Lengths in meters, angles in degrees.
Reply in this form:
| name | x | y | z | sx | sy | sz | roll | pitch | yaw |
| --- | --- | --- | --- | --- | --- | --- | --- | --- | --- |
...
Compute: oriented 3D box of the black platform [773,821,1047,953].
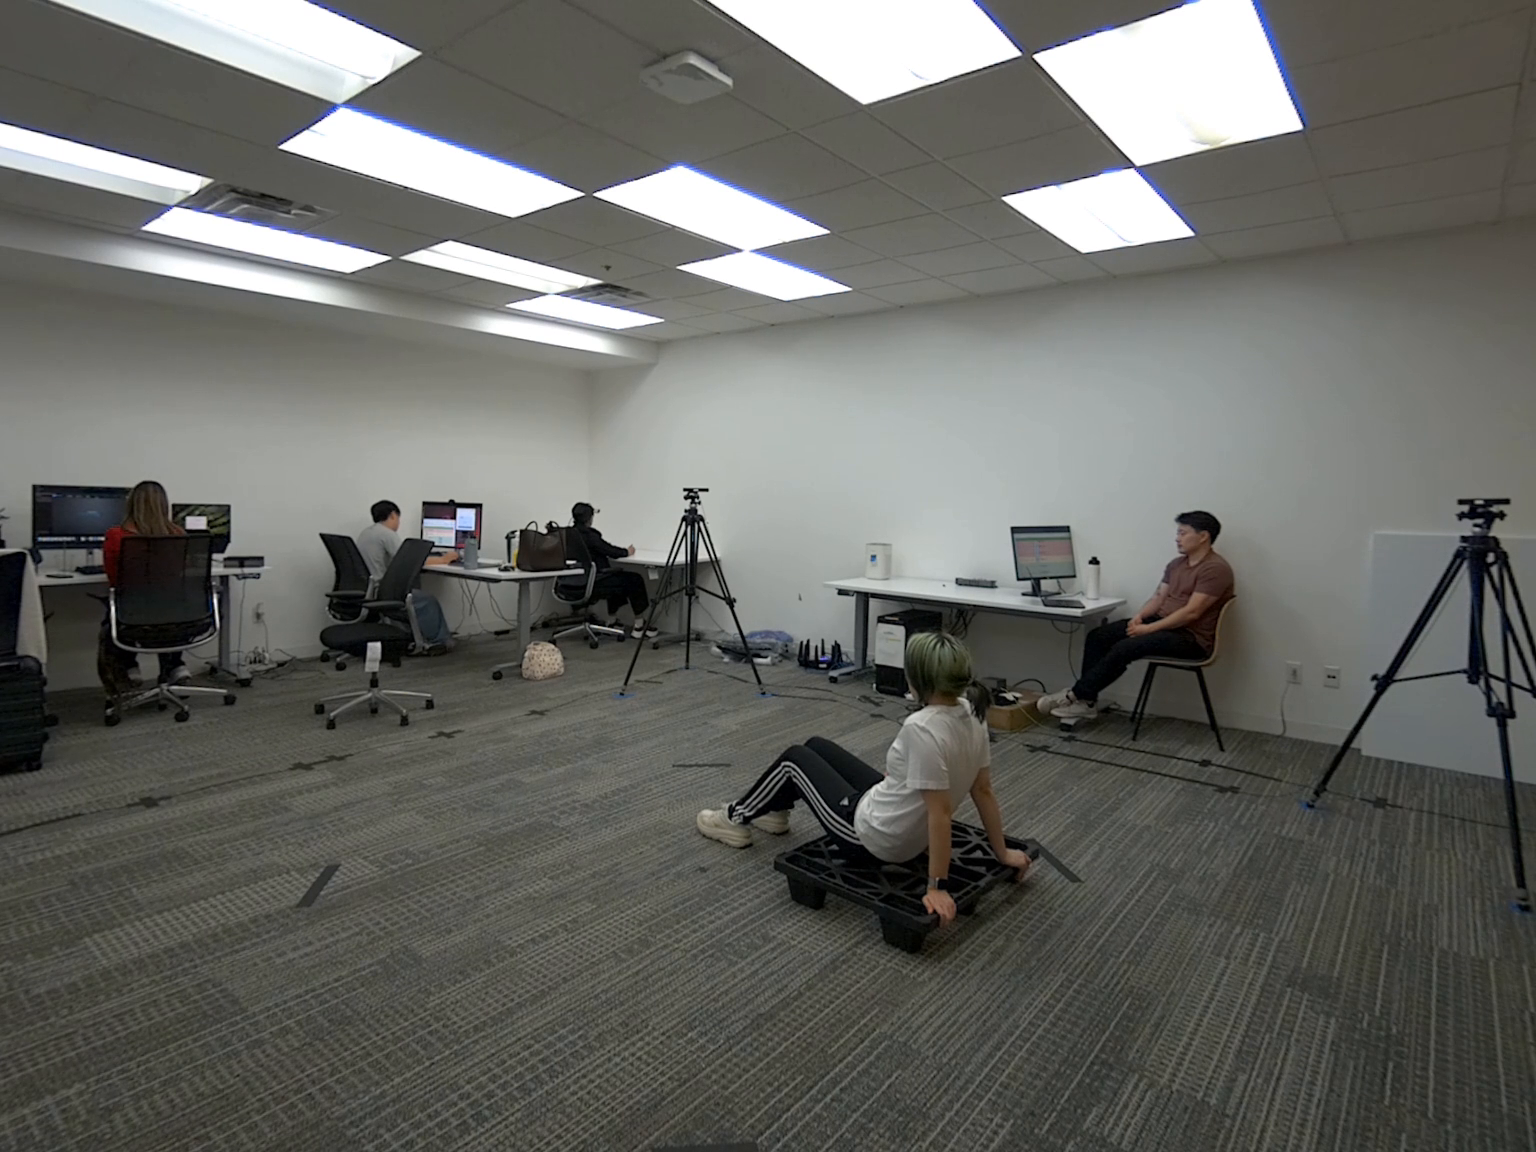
| name | x | y | z | sx | sy | sz | roll | pitch | yaw |
| --- | --- | --- | --- | --- | --- | --- | --- | --- | --- |
| black platform | 0.486 | 1.030 | 2.981 | 0.626 | 0.143 | 0.781 | 6 | 7 | 43 |
